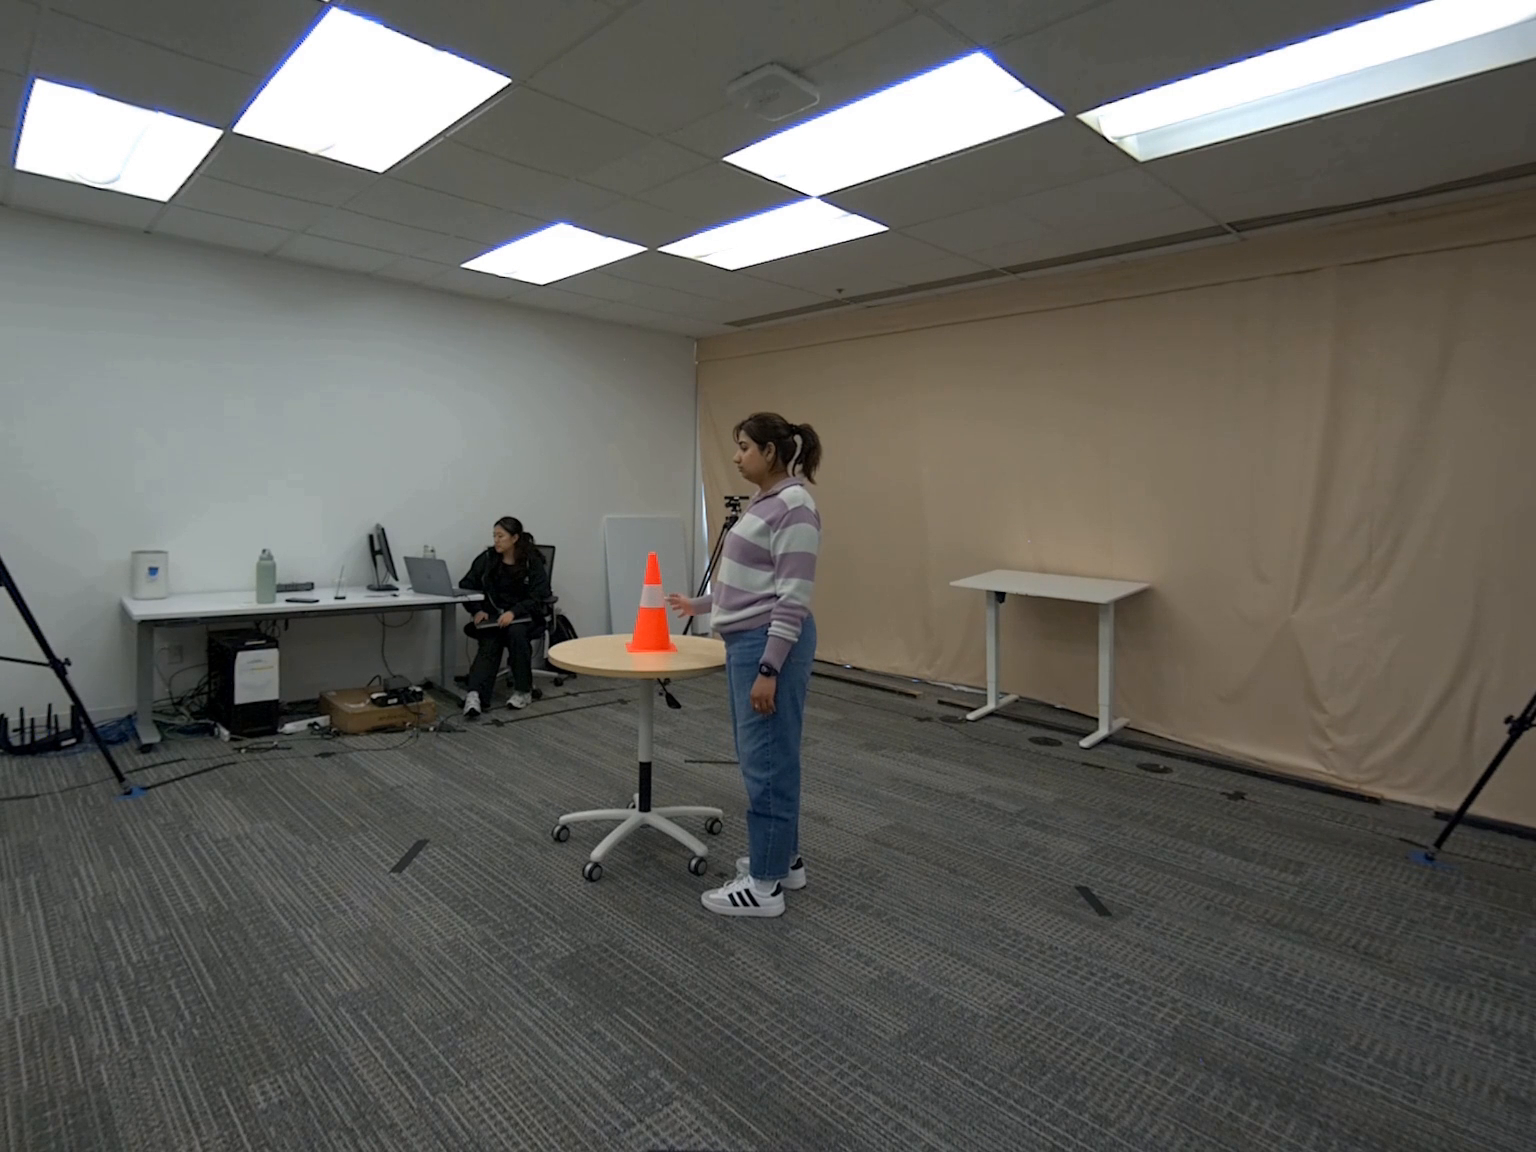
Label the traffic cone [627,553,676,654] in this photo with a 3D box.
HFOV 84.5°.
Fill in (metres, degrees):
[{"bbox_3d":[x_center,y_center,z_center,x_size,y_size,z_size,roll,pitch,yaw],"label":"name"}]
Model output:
[{"bbox_3d":[-0.467,0.102,3.363,0.203,0.383,0.206,2,4,-13],"label":"traffic cone"}]
